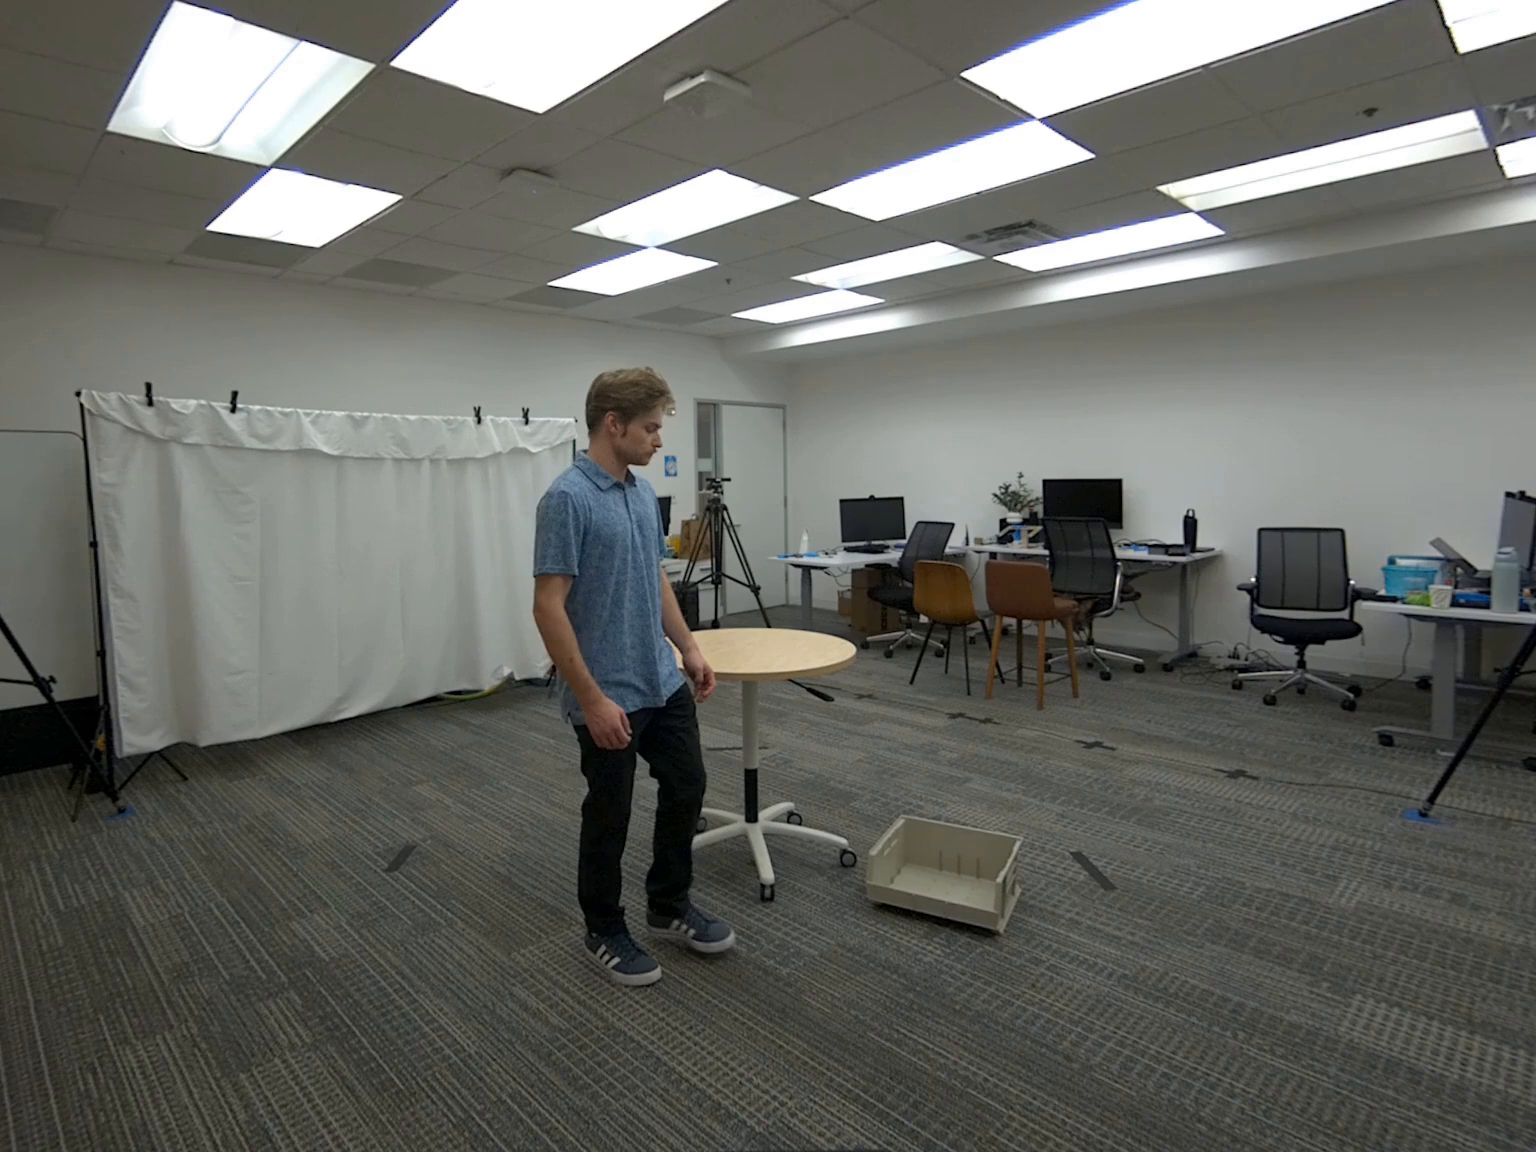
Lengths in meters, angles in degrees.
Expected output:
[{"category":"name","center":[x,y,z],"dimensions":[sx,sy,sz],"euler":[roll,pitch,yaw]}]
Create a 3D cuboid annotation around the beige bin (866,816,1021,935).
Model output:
[{"category":"beige bin","center":[0.589,0.976,2.804],"dimensions":[0.433,0.188,0.369],"euler":[2,6,29]}]
